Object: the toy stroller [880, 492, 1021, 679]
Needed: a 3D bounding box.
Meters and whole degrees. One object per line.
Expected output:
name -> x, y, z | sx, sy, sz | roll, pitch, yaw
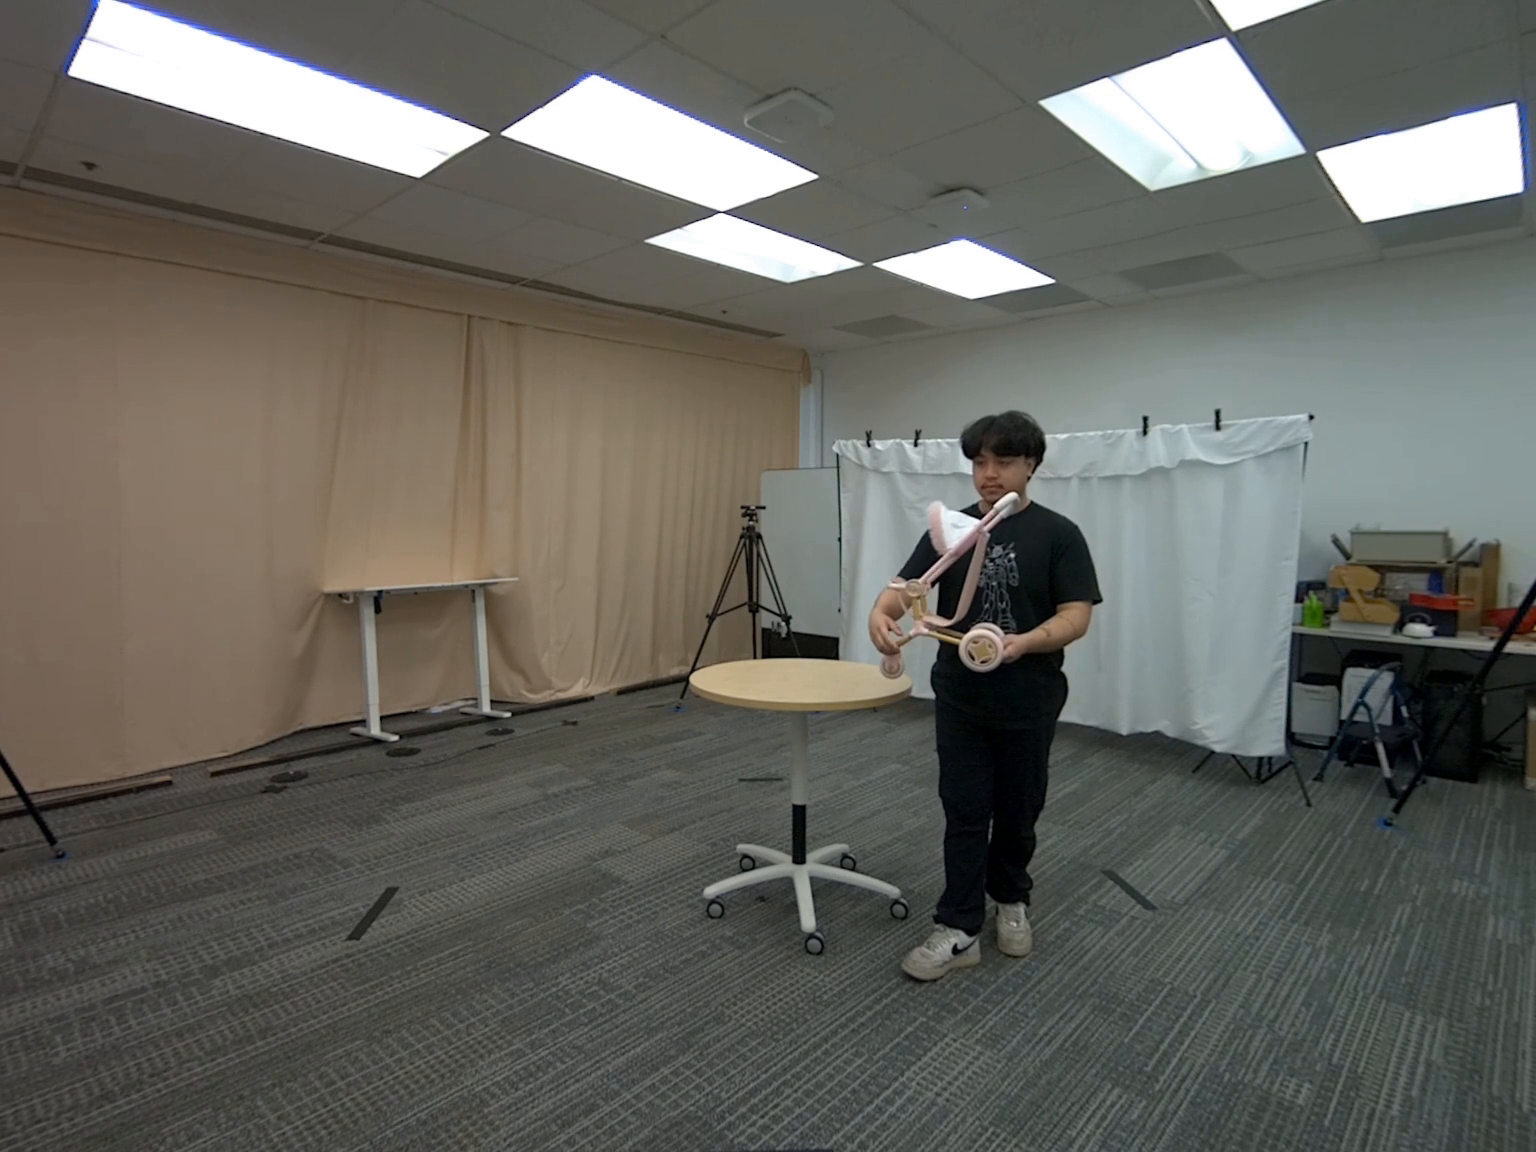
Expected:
toy stroller -> 0.495, 0.031, 2.321 | 0.350, 0.534, 0.274 | 5, 1, 23
